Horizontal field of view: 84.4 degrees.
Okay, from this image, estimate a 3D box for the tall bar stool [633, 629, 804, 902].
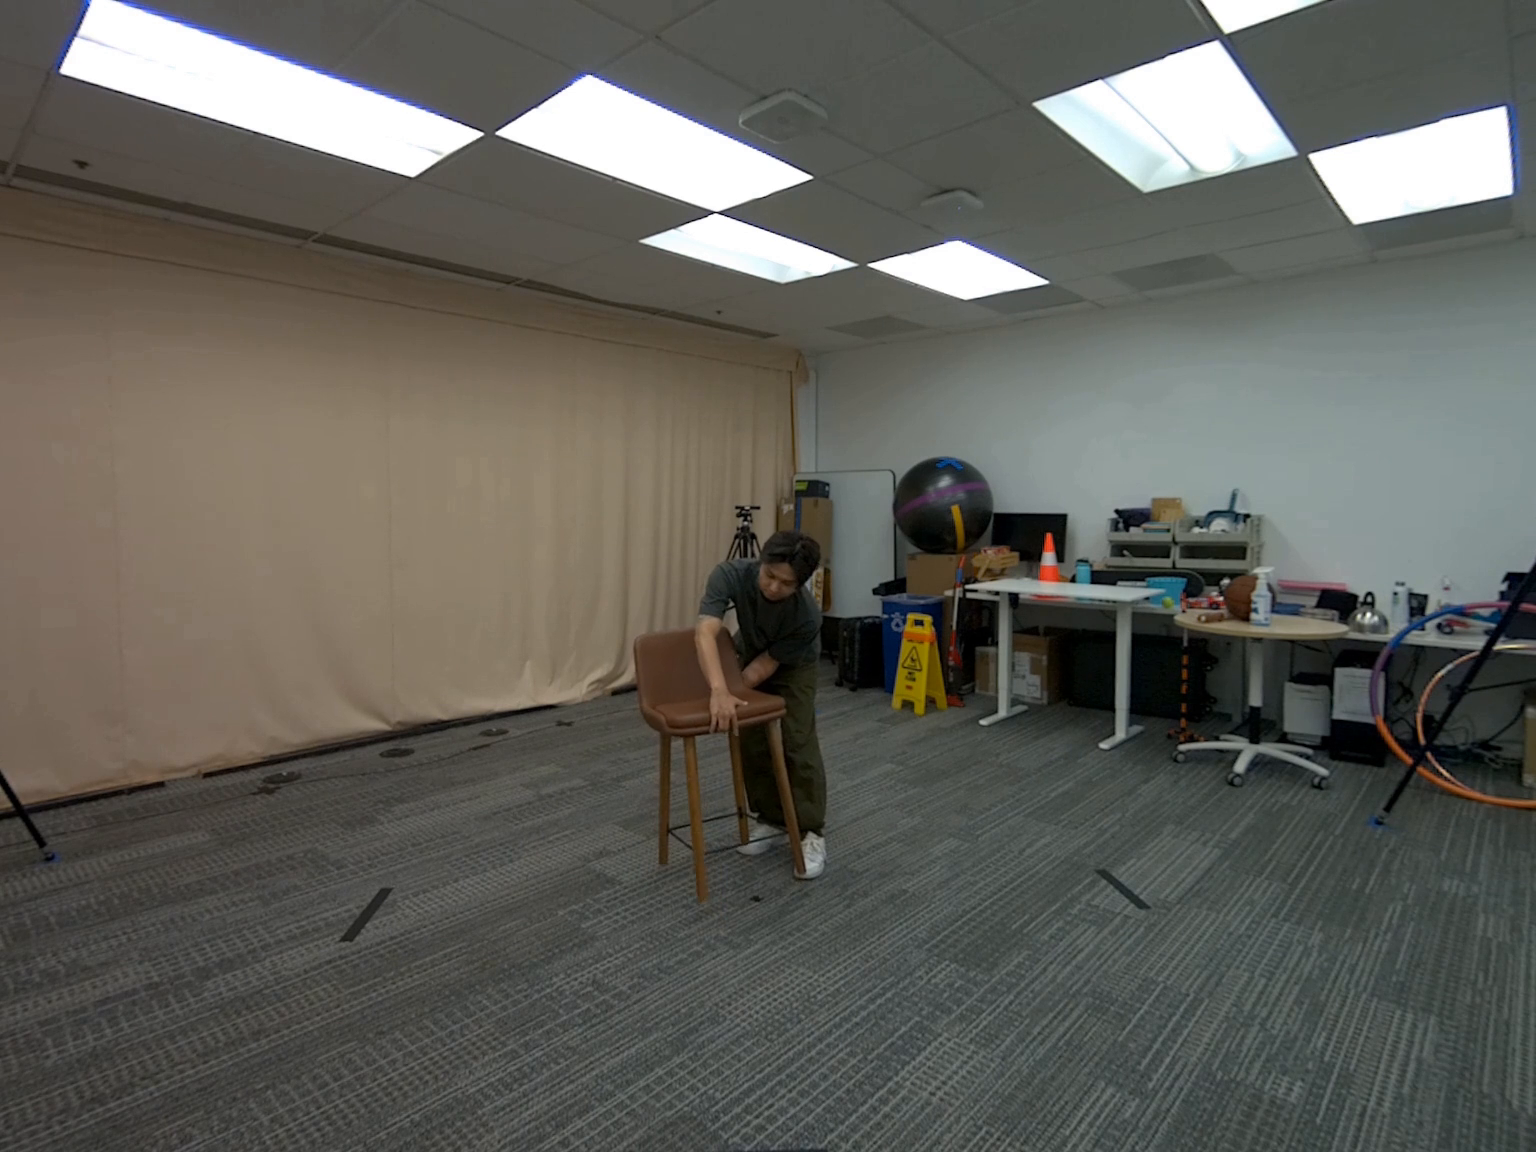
[{"bbox_3d":[-0.199,0.638,3.068,0.446,0.891,0.477,-5,-3,-26],"label":"tall bar stool"}]
